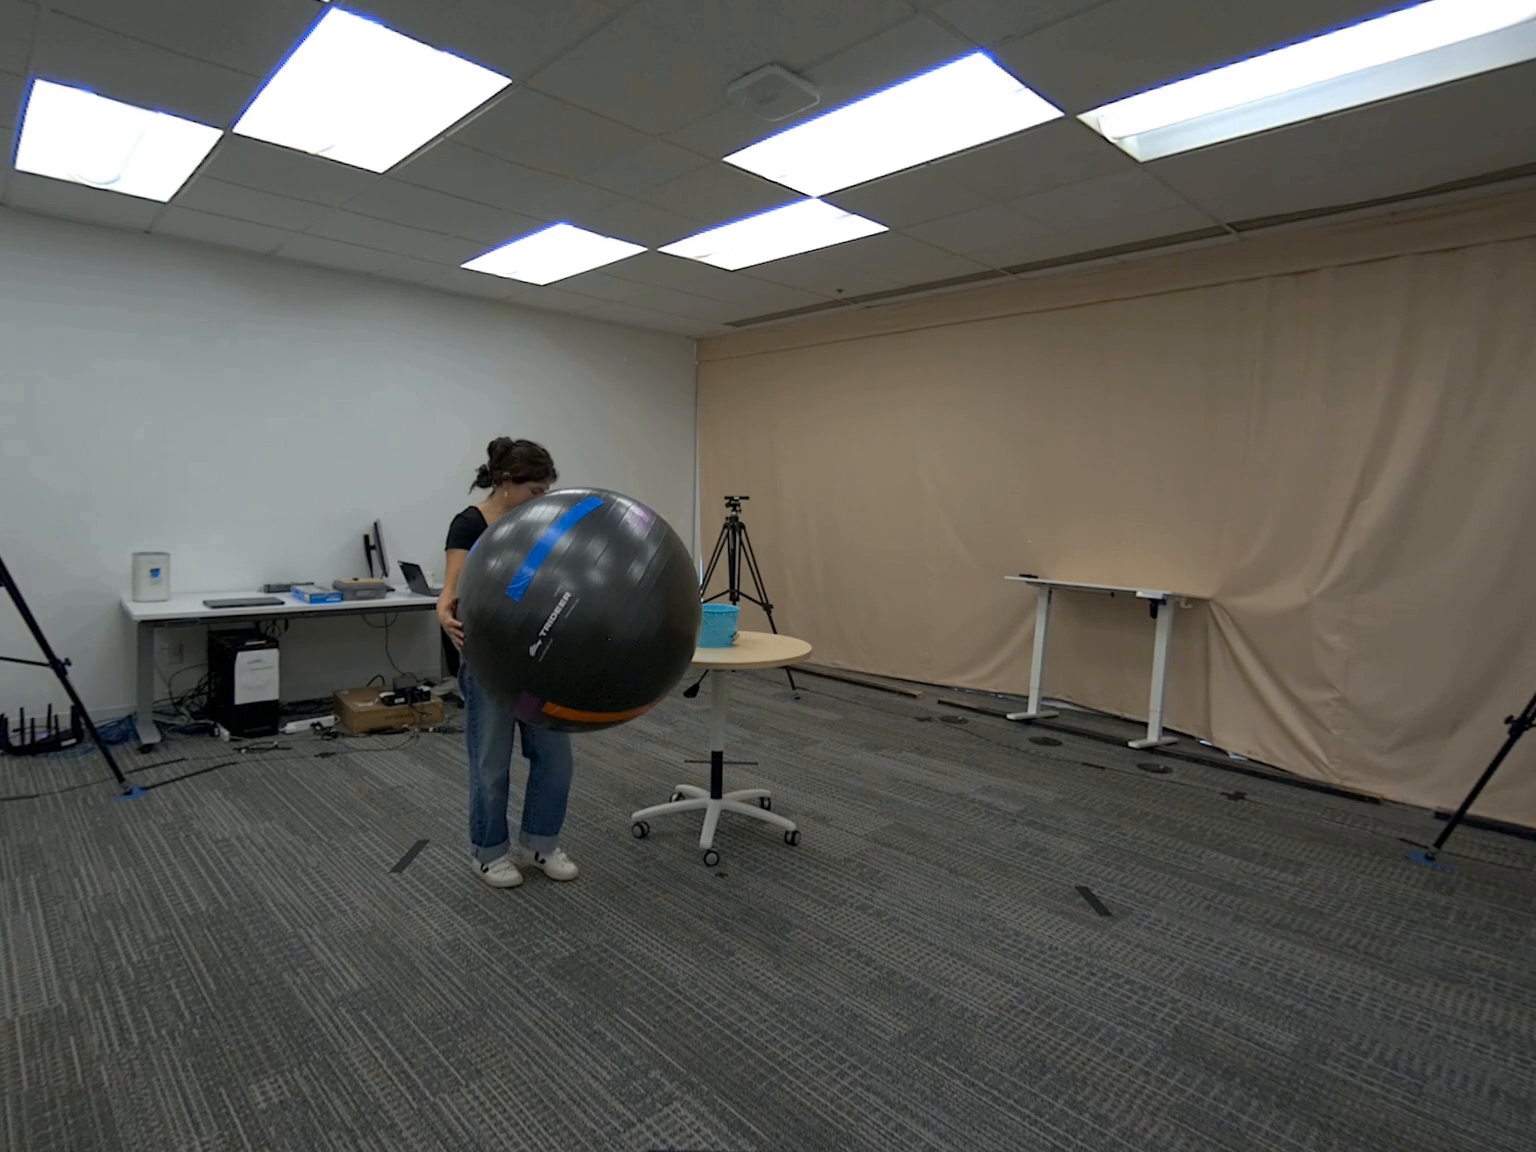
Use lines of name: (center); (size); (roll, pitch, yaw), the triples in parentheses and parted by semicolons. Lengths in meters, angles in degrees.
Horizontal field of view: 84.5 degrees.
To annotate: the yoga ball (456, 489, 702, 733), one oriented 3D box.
yoga ball: (-0.585, 0.119, 2.626); (0.757, 0.756, 0.761); (1, 4, -1)
